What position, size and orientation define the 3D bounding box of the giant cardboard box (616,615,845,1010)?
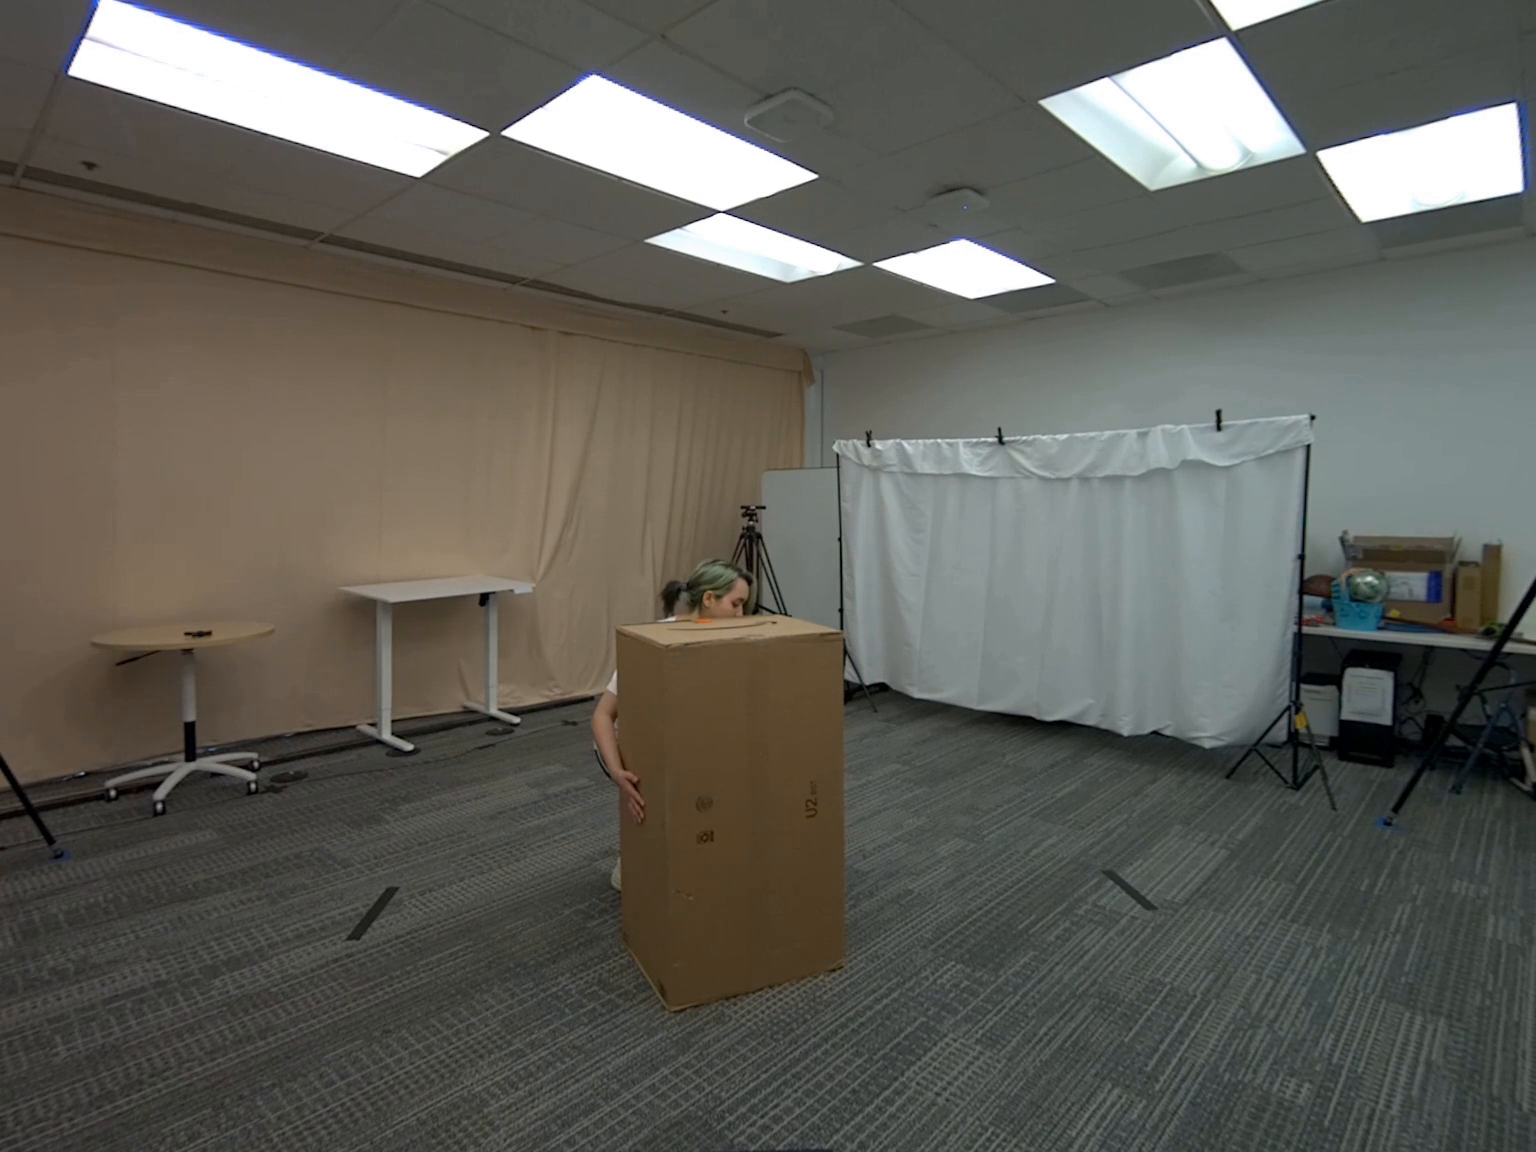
[{"bbox_3d":[-0.117,0.670,2.586,0.569,1.024,0.459,-2,4,-27],"label":"giant cardboard box"}]
